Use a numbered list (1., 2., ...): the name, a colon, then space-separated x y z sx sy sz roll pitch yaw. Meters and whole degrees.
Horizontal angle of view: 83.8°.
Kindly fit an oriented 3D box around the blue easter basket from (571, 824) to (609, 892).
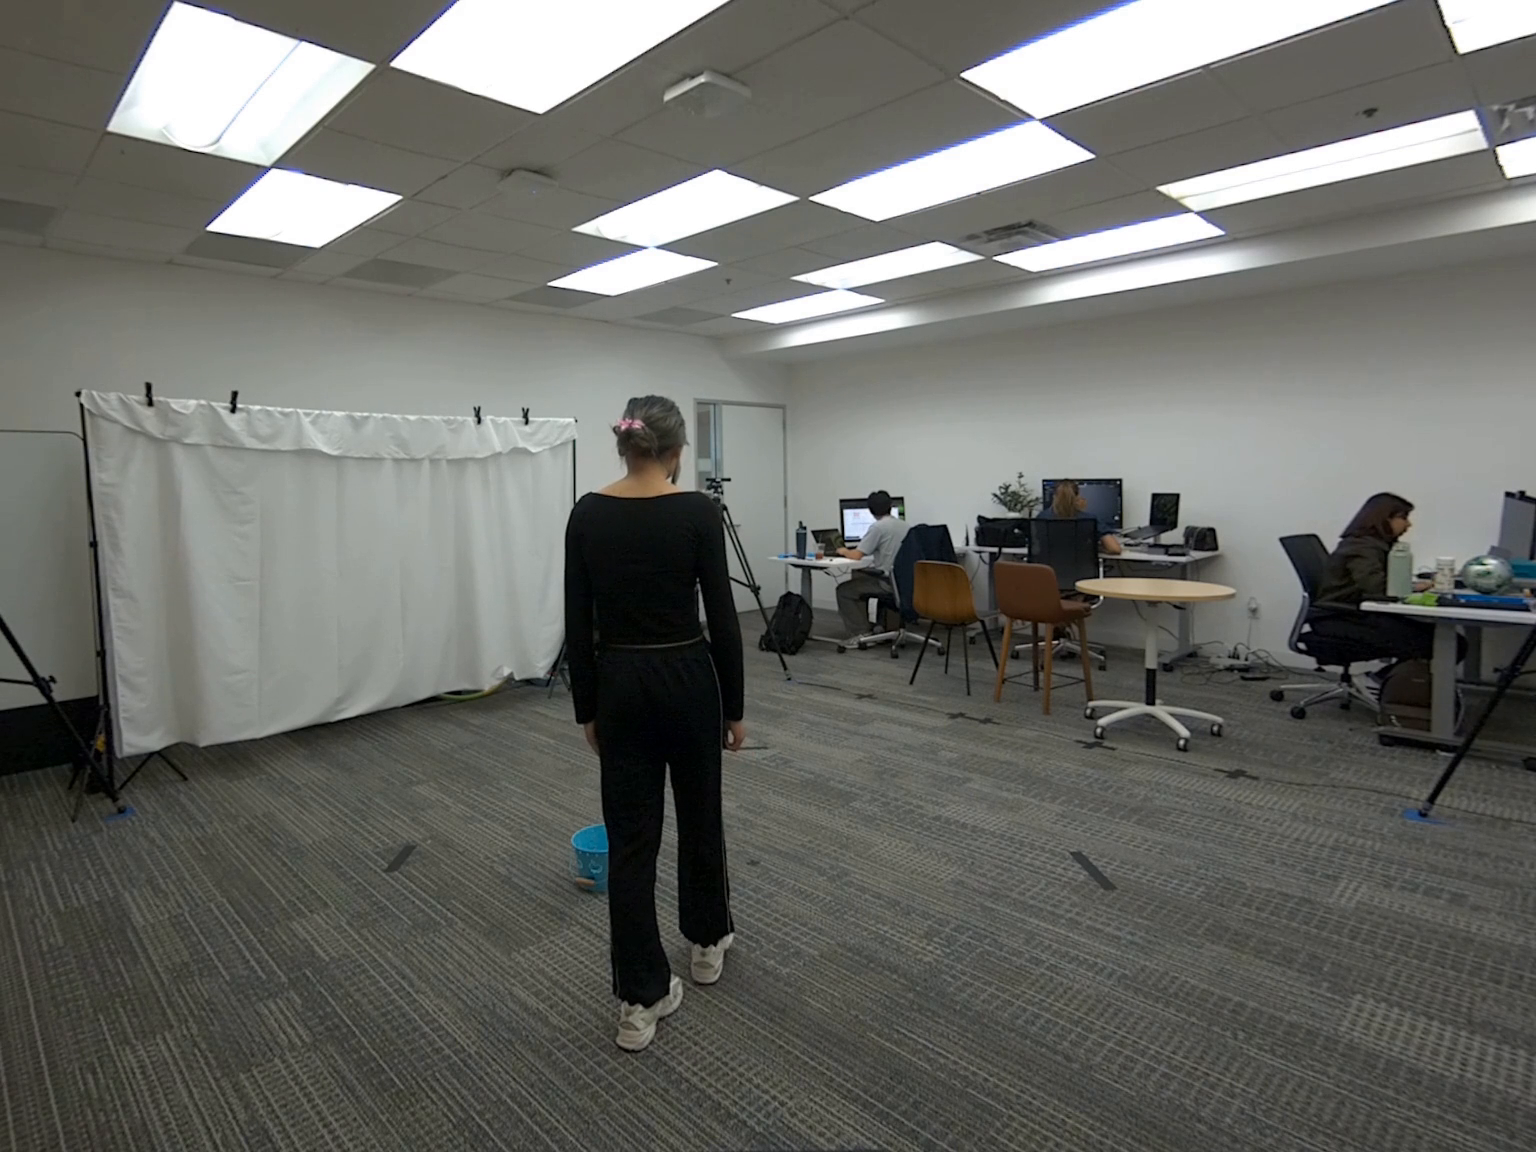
1. blue easter basket: -0.571 0.987 2.994 0.243 0.155 0.245 -1 5 -2
